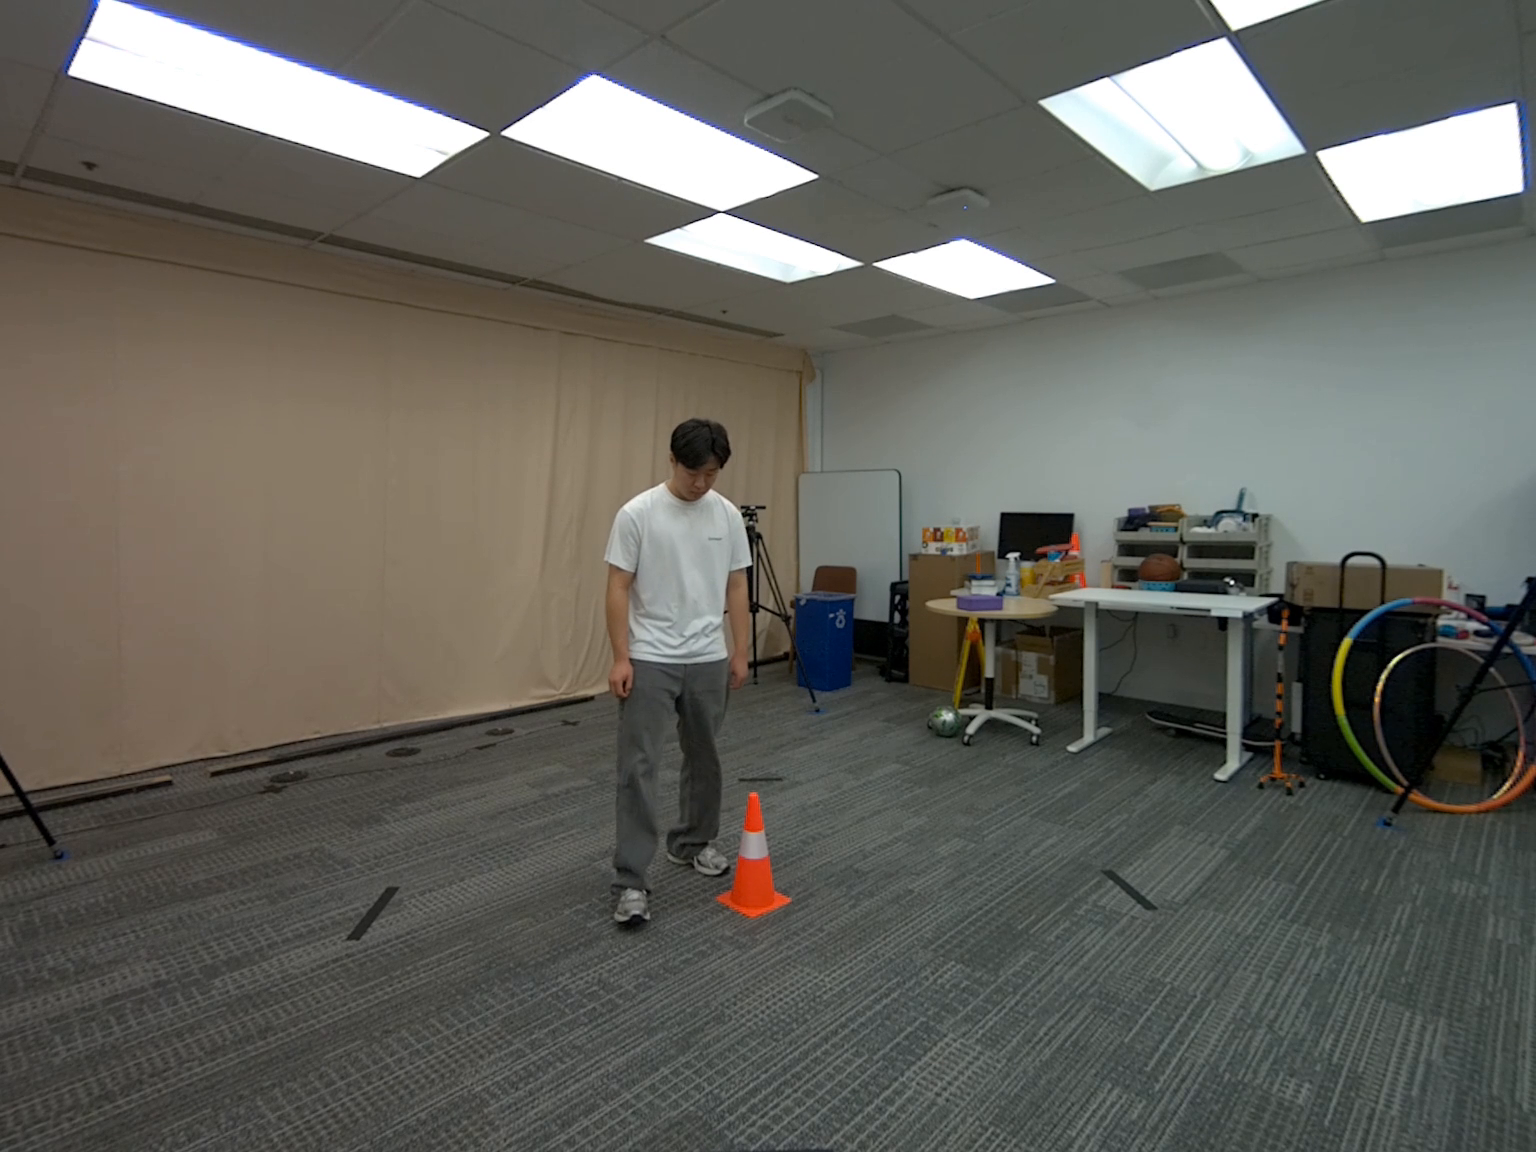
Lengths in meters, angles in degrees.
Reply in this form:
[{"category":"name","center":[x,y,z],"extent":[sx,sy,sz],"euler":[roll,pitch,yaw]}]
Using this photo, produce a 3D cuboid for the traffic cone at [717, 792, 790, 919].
[{"category":"traffic cone","center":[-0.045,0.964,2.953],"extent":[0.198,0.382,0.211],"euler":[-3,6,-31]}]
